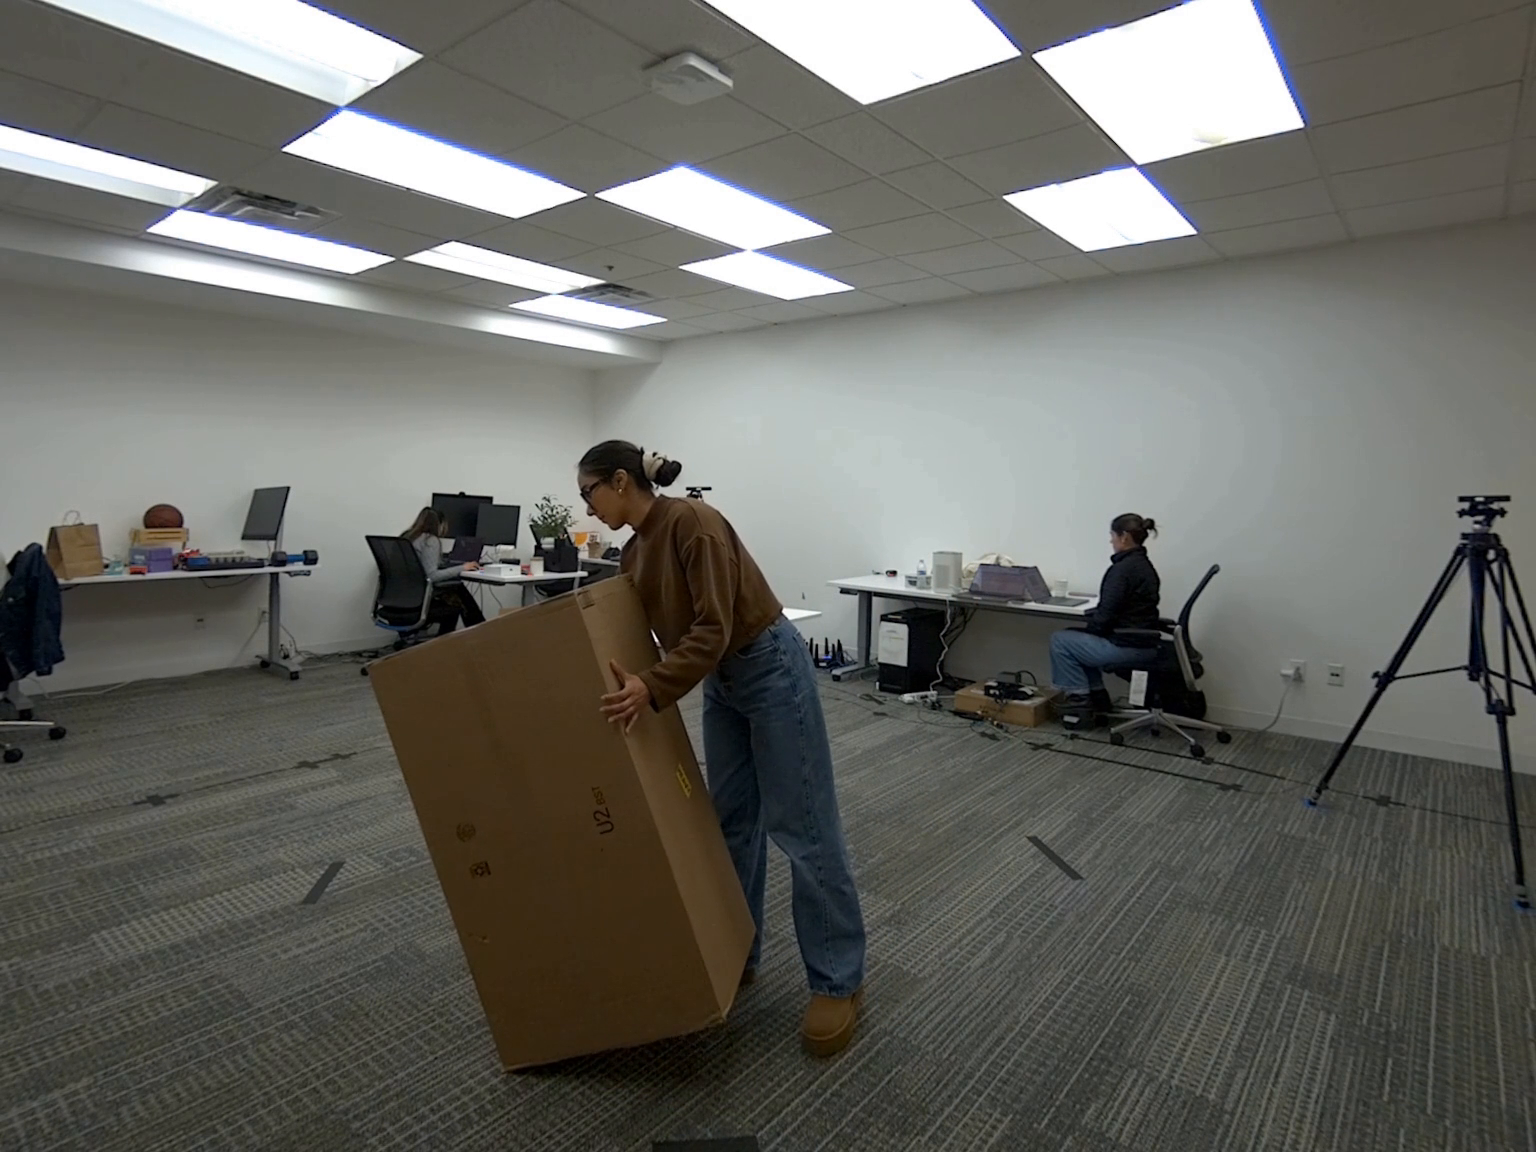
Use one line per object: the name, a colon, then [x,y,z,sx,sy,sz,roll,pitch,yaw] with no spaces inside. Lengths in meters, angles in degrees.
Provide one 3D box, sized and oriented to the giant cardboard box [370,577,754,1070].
giant cardboard box: [-0.512,0.583,2.166,0.582,1.029,0.422,-20,-2,11]
